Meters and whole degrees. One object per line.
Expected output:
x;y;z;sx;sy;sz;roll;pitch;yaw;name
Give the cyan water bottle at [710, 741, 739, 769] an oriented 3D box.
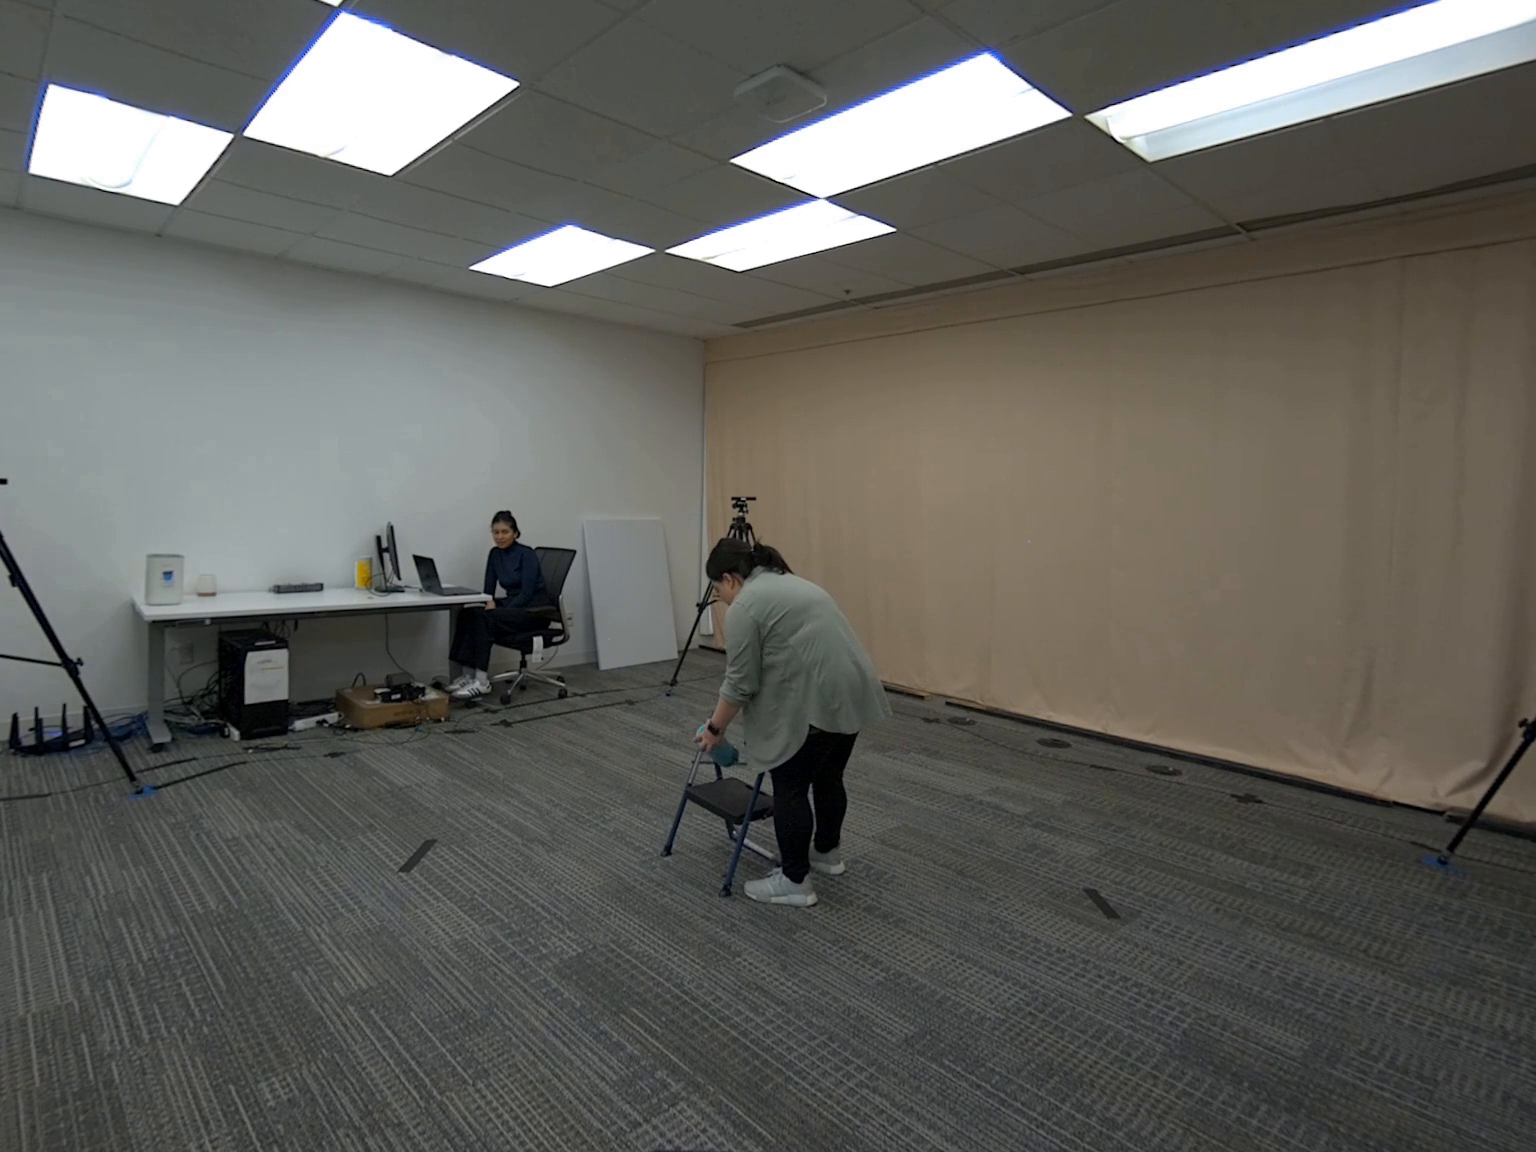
-0.178;0.629;3.125;0.094;0.093;0.275;3;-29;17;cyan water bottle
